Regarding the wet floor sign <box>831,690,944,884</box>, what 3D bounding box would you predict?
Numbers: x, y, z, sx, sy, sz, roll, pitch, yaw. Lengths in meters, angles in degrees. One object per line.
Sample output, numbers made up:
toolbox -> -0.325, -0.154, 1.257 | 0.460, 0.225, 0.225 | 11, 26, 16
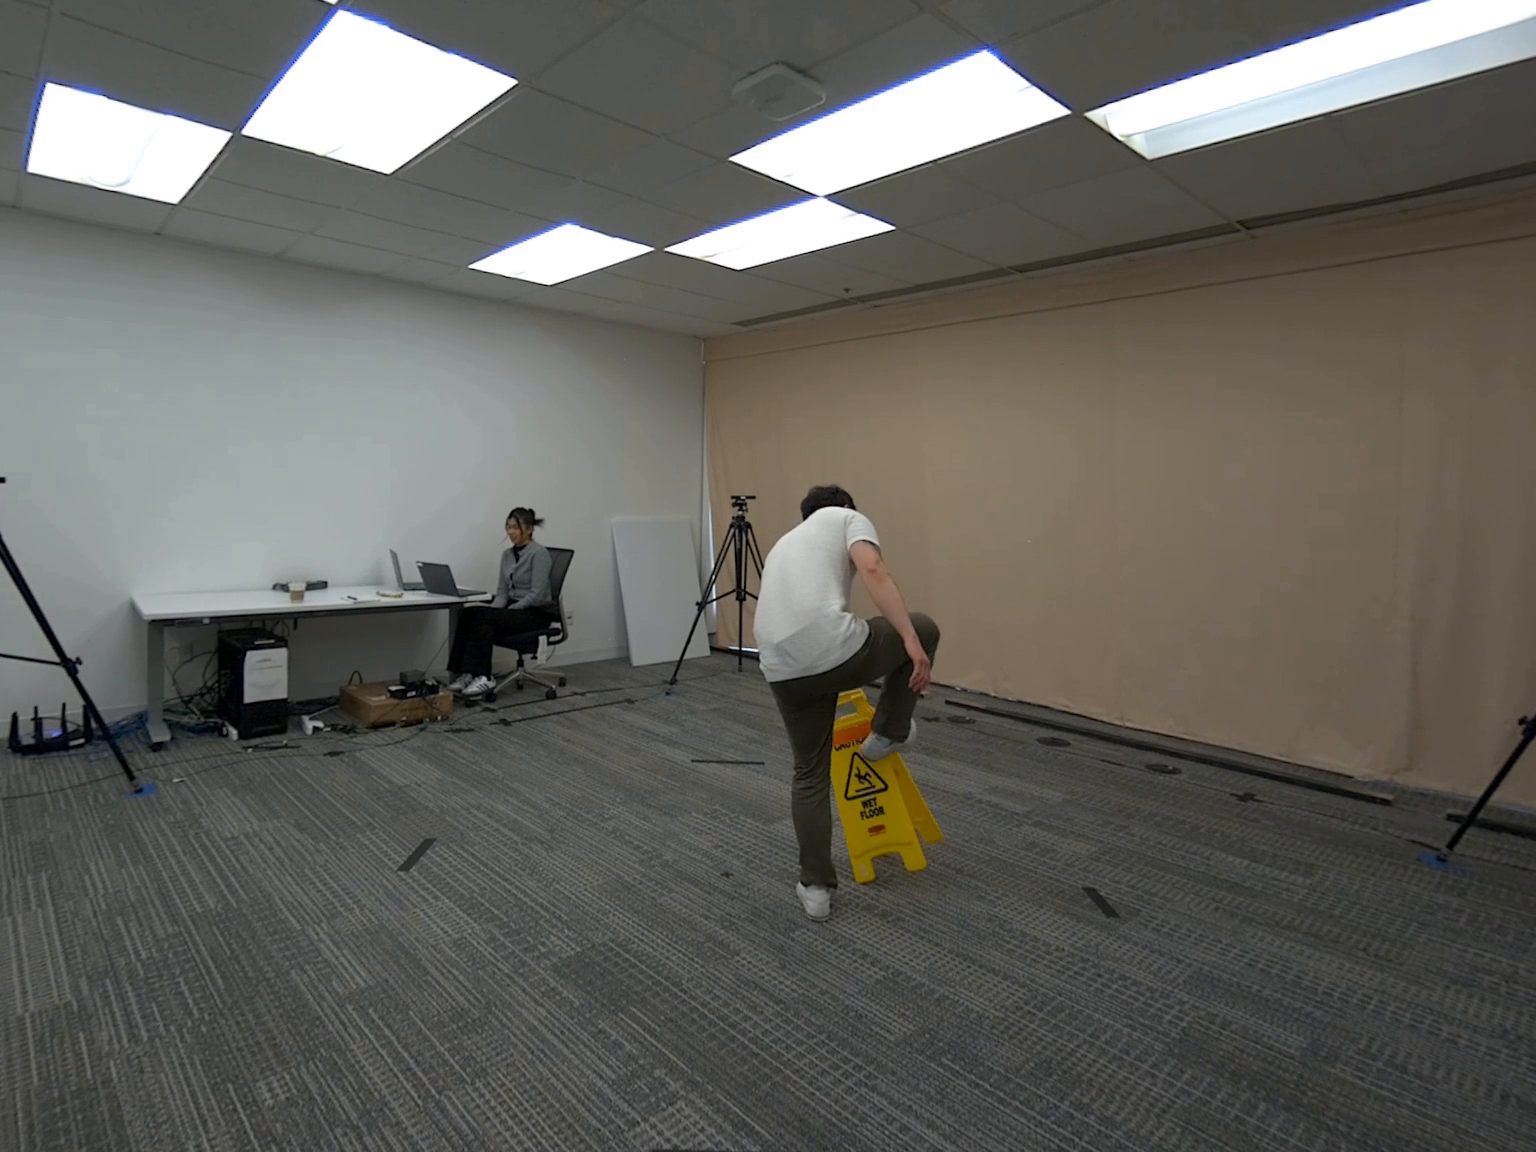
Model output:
wet floor sign -> 0.381, 0.764, 3.181 | 0.285, 0.651, 0.284 | -23, -8, 24
